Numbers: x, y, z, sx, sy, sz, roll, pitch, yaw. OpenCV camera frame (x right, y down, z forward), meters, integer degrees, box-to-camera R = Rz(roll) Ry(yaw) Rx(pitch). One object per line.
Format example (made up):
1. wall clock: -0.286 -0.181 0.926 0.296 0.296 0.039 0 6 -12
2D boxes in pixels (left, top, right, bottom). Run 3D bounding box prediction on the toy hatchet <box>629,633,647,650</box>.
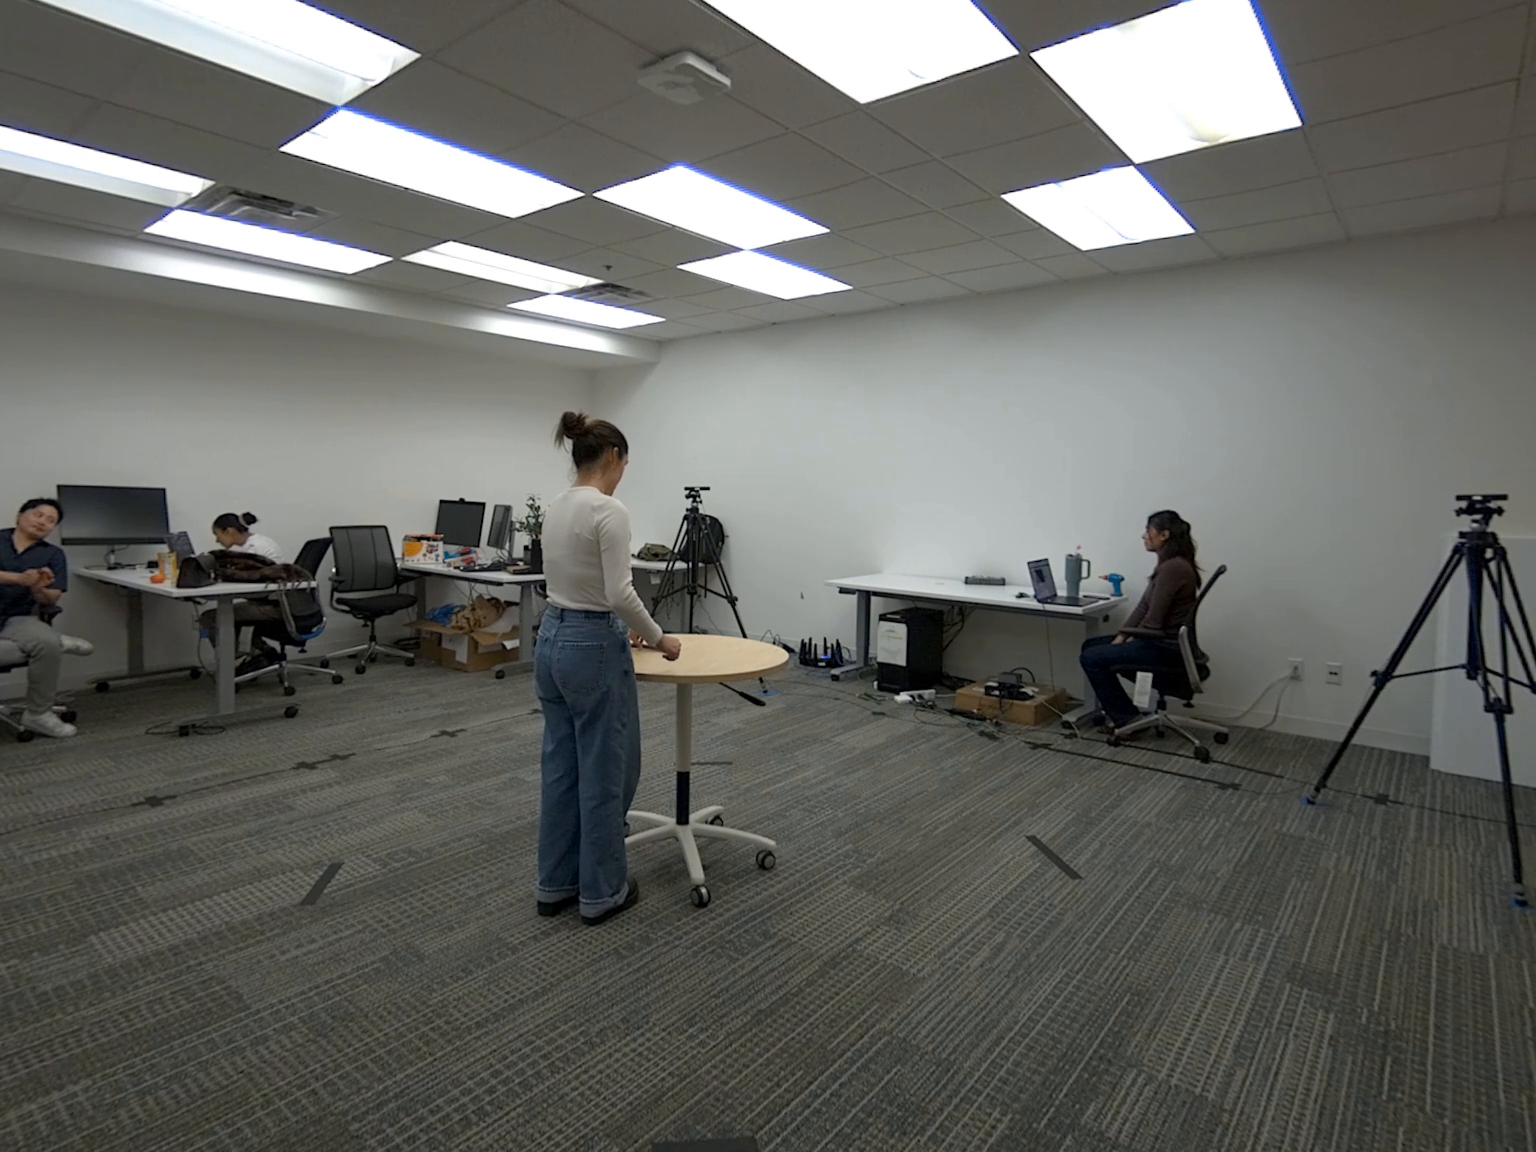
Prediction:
1. toy hatchet: -0.460 0.262 3.124 0.277 0.029 0.128 4 3 25
